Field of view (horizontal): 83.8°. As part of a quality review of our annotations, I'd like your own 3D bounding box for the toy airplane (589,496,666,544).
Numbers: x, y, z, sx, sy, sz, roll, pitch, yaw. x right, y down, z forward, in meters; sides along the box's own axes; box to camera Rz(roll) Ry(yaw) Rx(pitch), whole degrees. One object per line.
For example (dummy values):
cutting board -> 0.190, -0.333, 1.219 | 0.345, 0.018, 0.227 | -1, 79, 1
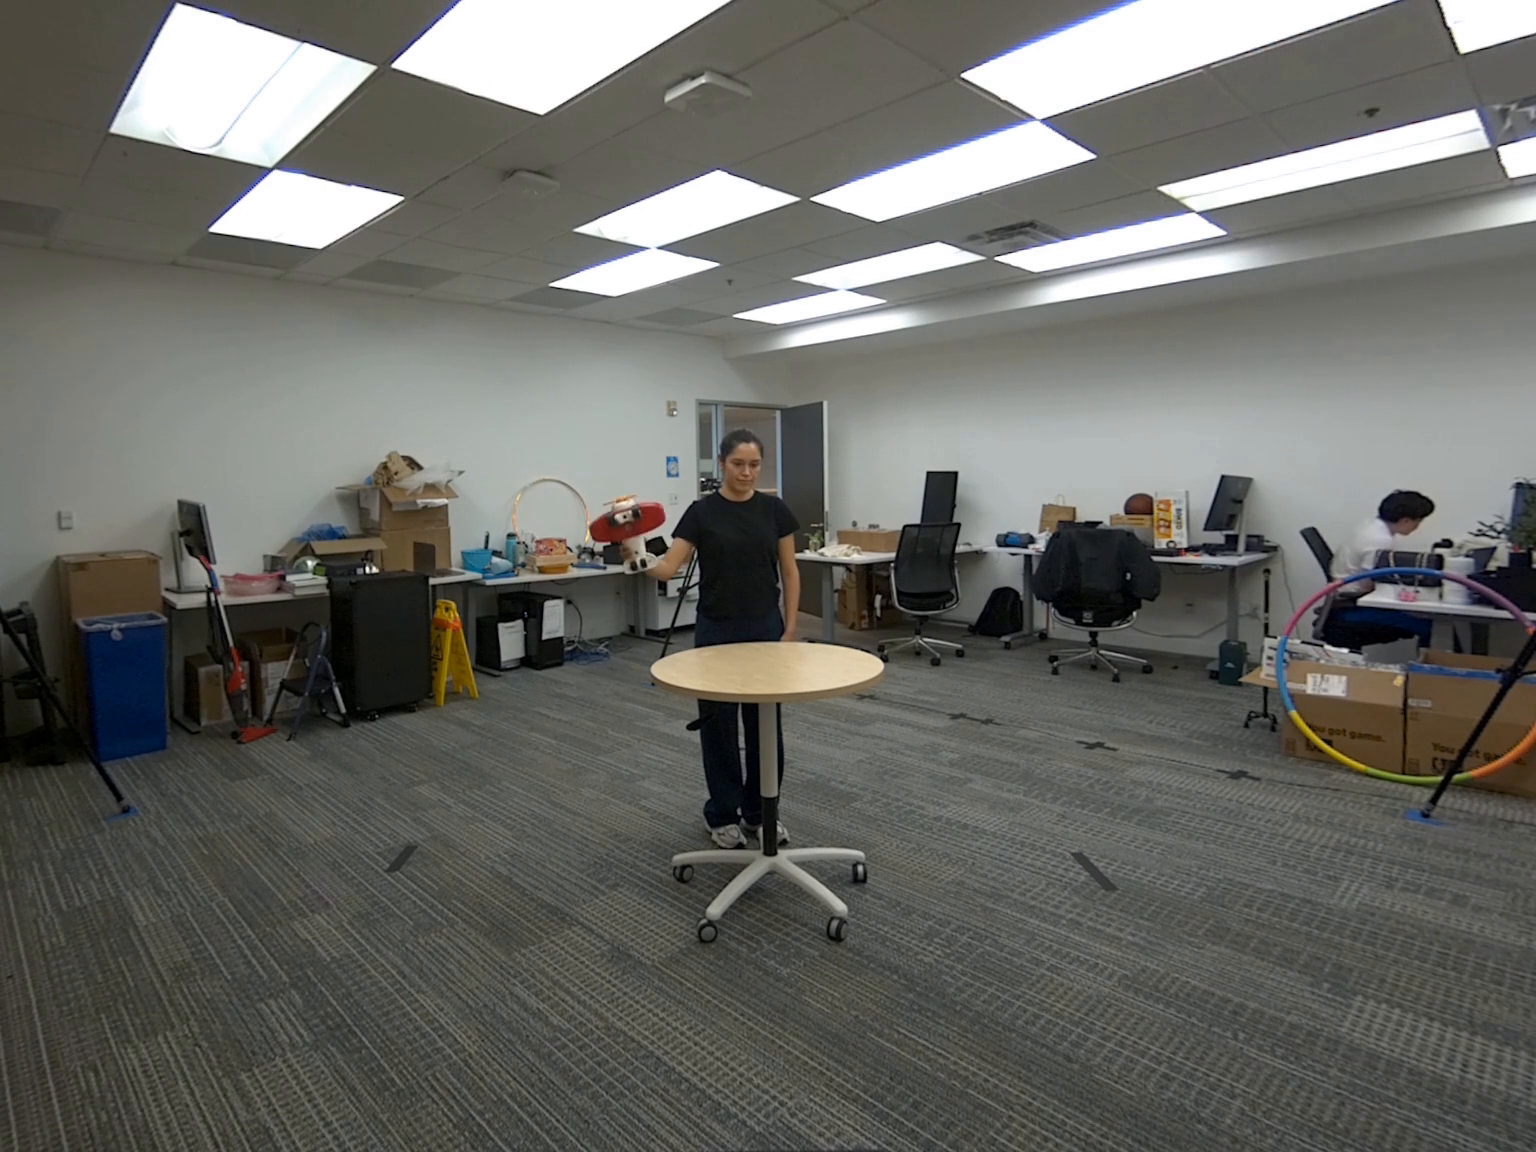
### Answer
toy airplane -> -0.470, -0.141, 2.893 | 0.248, 0.256, 0.160 | 10, 20, -11
